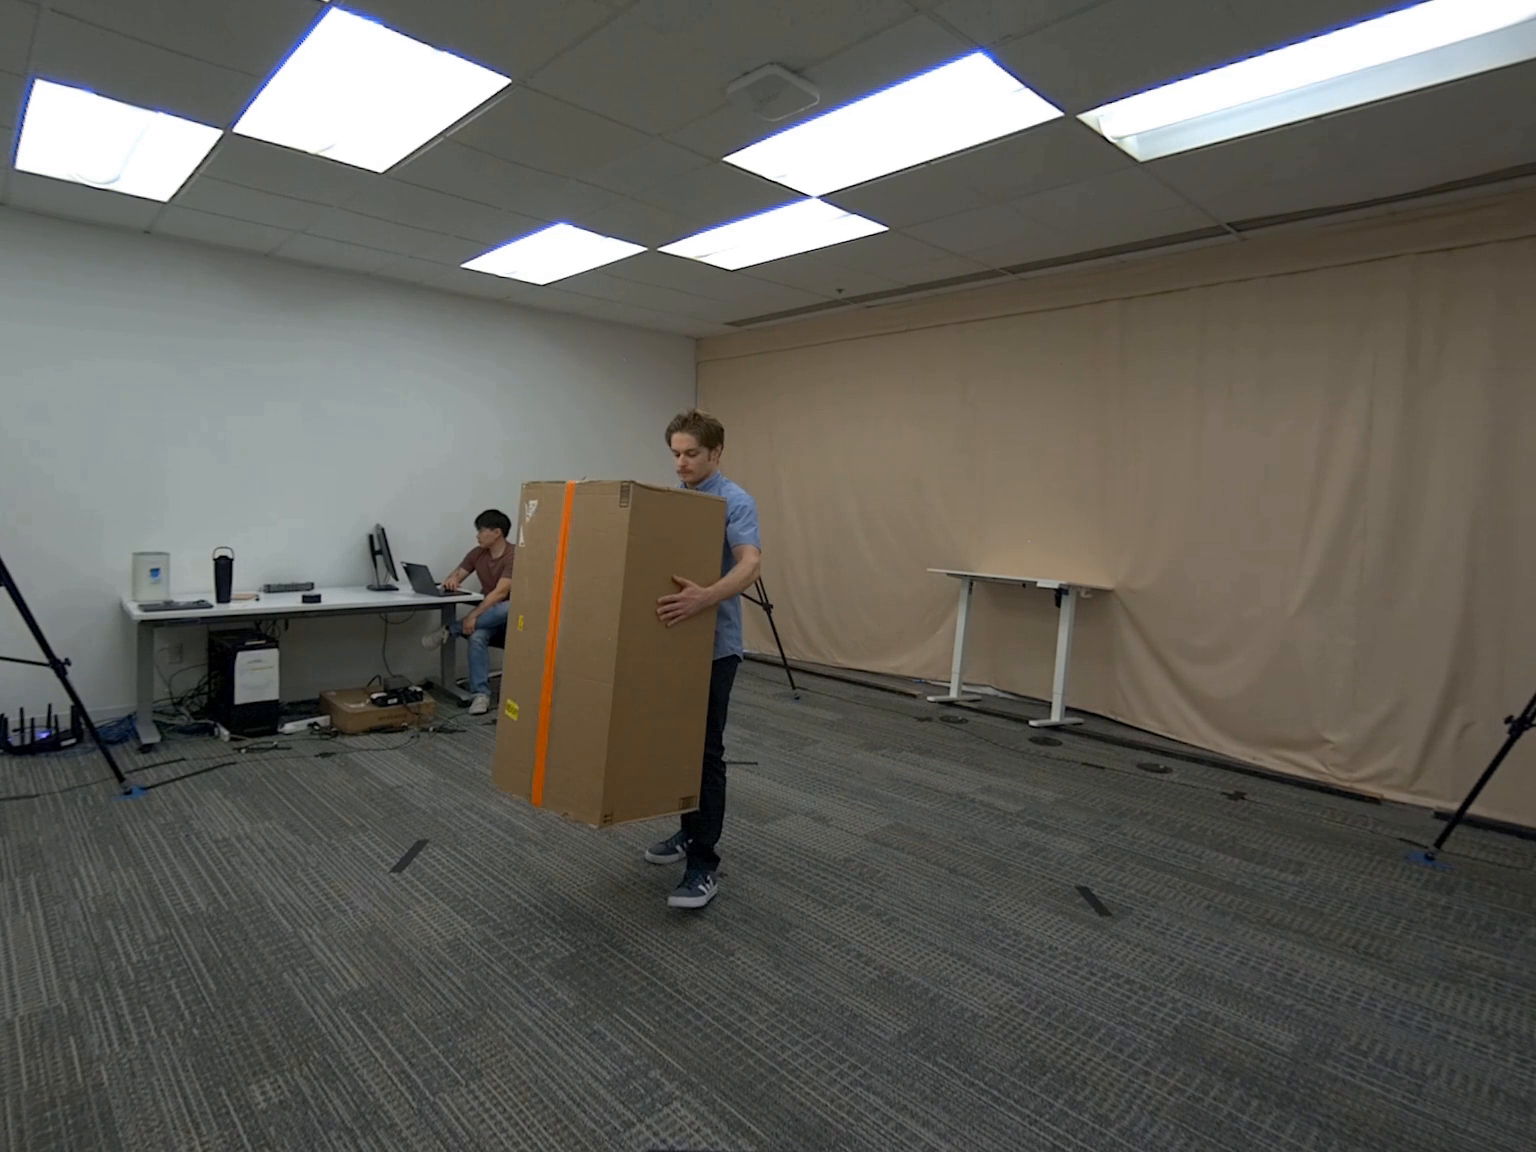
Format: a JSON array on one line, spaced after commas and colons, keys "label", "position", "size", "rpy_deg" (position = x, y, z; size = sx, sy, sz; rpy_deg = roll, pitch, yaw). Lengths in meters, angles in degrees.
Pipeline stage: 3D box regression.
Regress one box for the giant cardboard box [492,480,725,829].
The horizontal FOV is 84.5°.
[{"label": "giant cardboard box", "position": [-0.536, 0.227, 2.773], "size": [0.592, 1.027, 0.415], "rpy_deg": [3, -3, 42]}]
